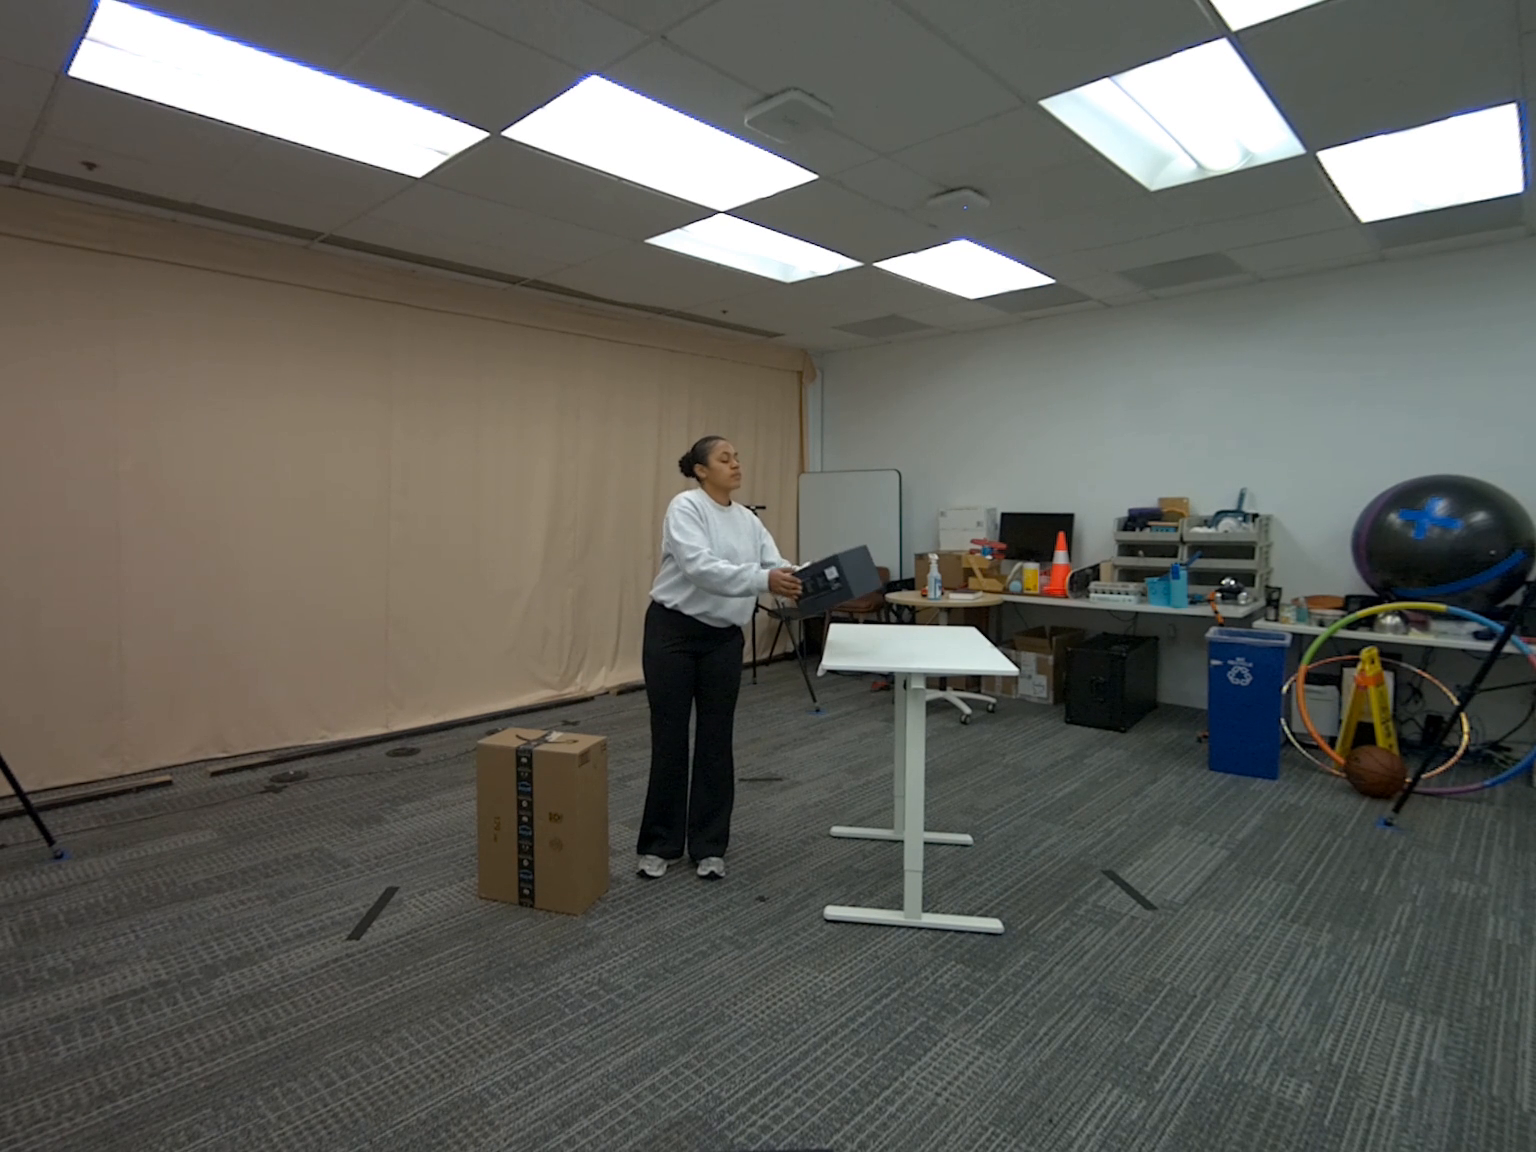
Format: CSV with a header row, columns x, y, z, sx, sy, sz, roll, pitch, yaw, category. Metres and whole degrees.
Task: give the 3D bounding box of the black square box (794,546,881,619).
x,y,z,sx,sy,sz,roll,pitch,yaw,category
0.212,0.023,2.841,0.221,0.157,0.222,-24,-5,34,black square box
